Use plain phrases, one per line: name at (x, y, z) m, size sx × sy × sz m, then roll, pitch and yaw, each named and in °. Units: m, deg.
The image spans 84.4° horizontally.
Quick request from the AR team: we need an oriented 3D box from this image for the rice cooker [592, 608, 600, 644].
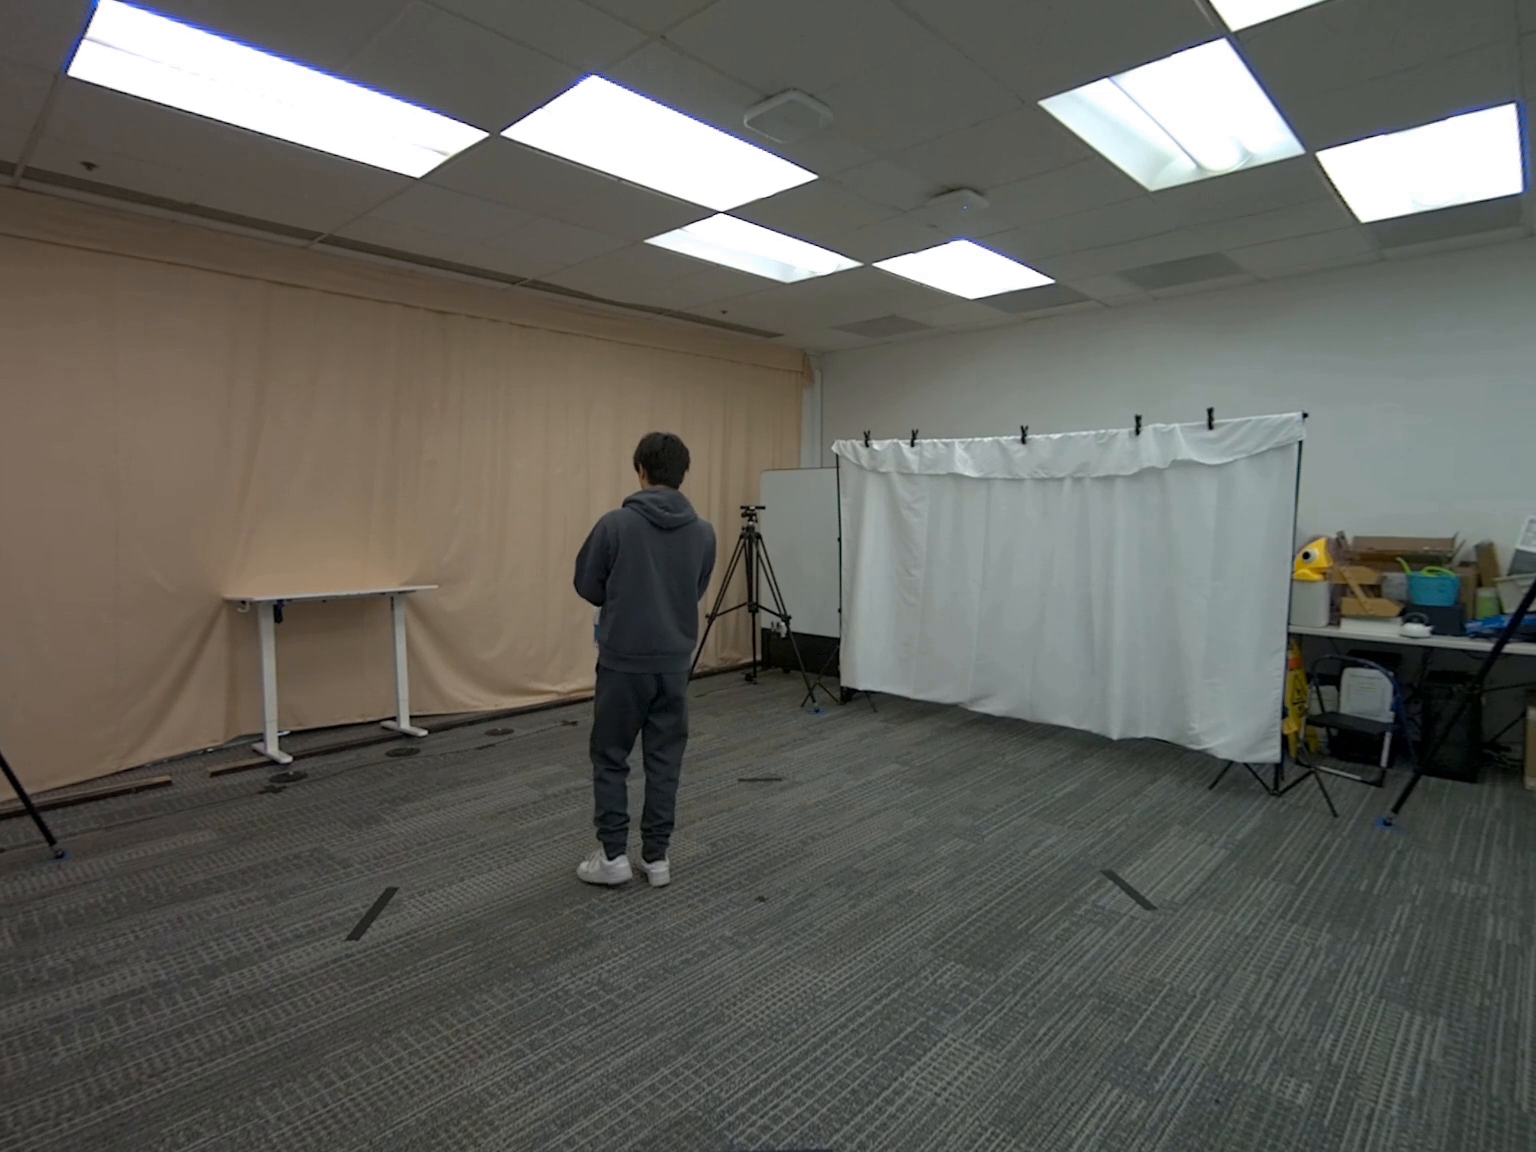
rice cooker at (-0.615, 0.194, 3.473) m, size 0.215 × 0.232 × 0.223 m, roll 3°, pitch 6°, yaw -24°
